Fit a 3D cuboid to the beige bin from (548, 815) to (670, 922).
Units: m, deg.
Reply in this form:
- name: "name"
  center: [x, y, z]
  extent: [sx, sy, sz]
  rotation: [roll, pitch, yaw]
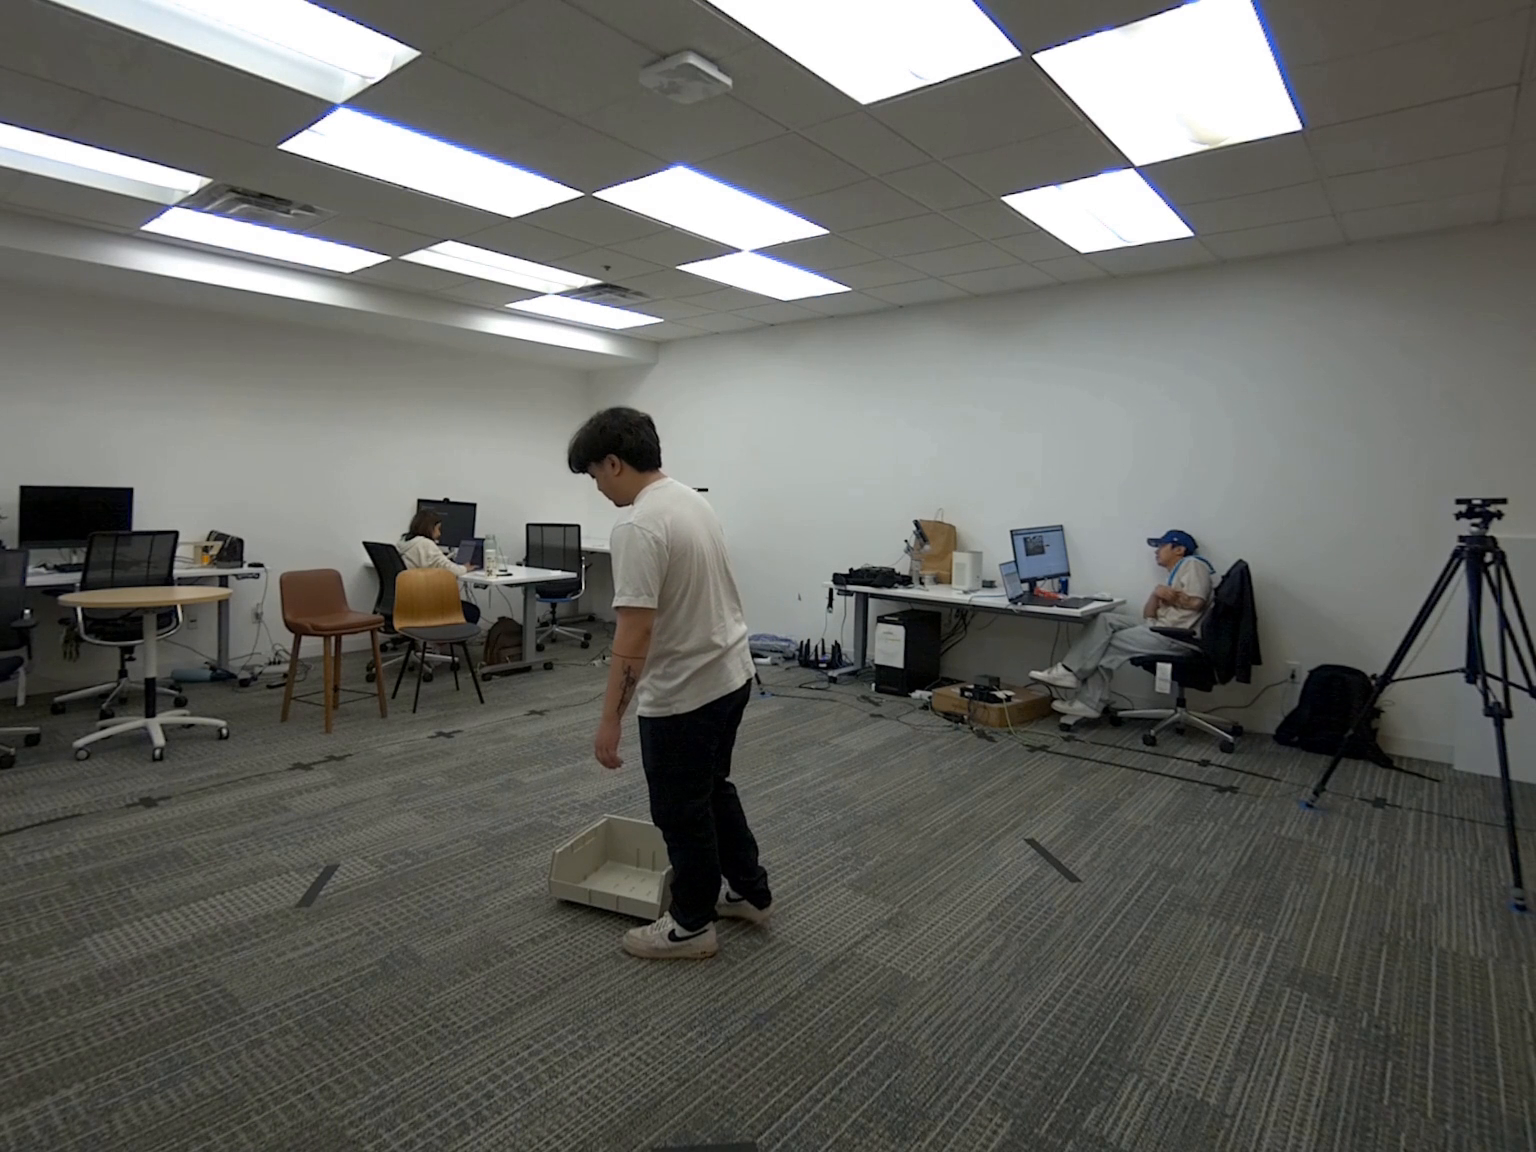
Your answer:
- name: "beige bin"
  center: [-0.479, 0.996, 2.897]
  extent: [0.432, 0.188, 0.370]
  rotation: [3, 4, 21]
